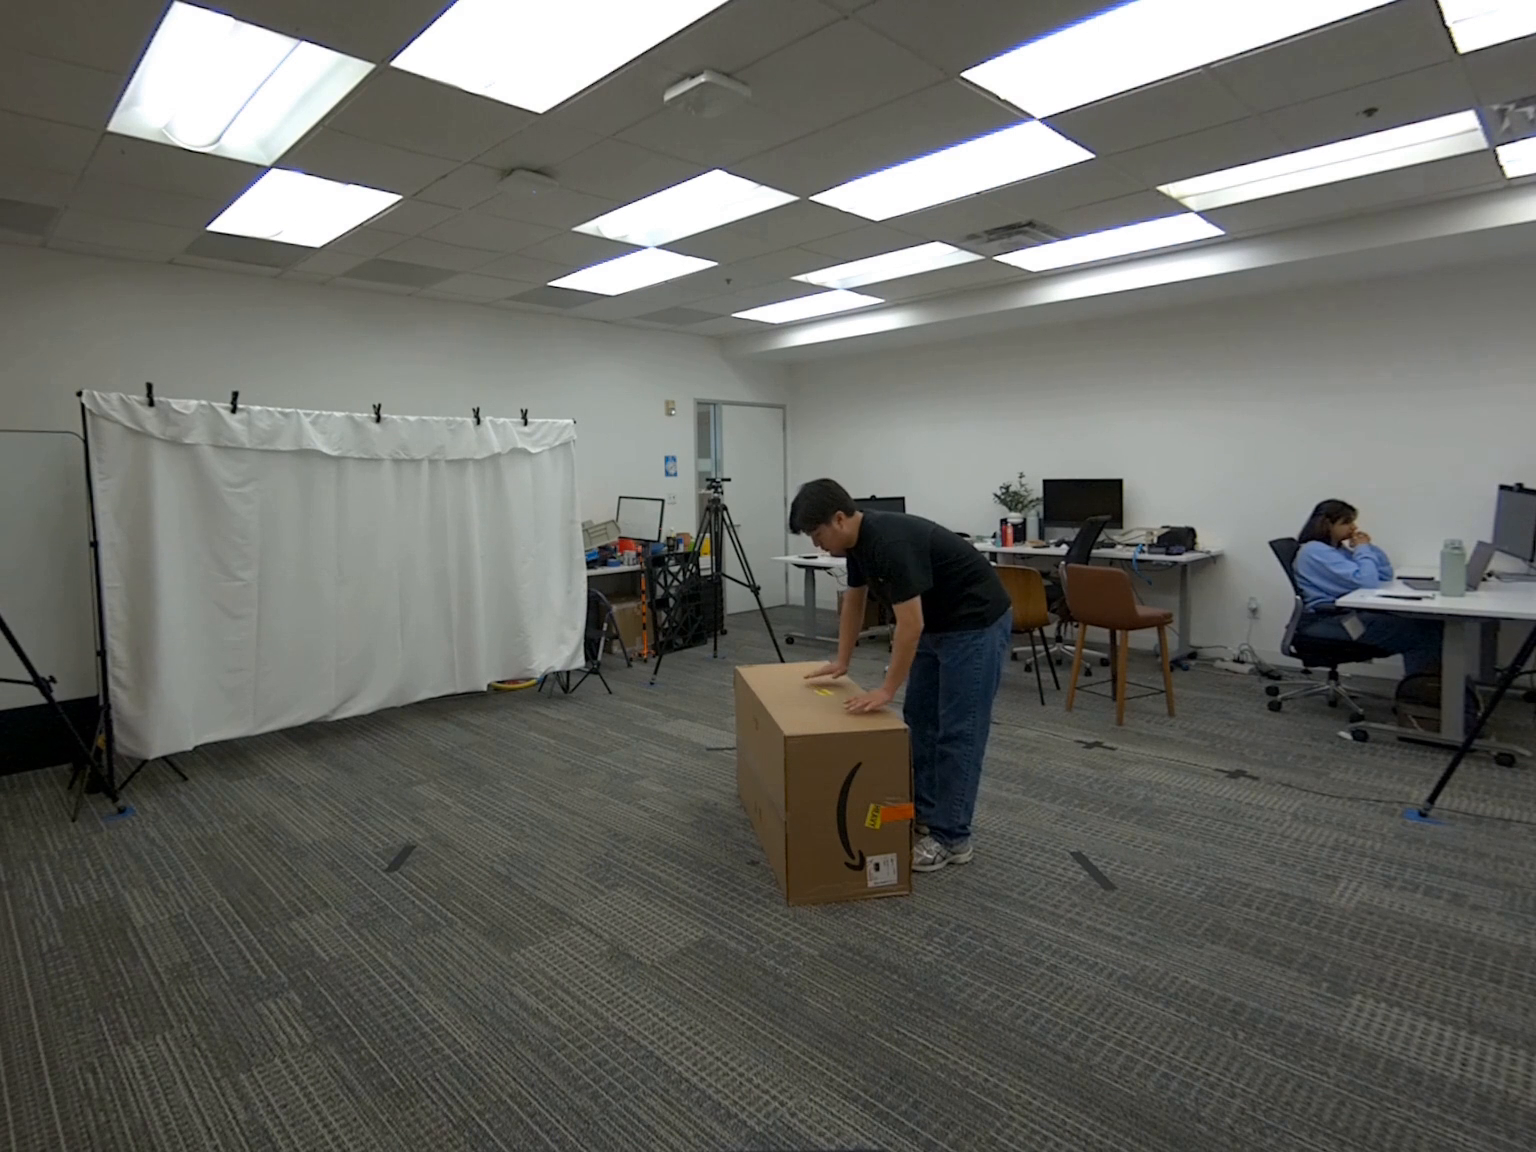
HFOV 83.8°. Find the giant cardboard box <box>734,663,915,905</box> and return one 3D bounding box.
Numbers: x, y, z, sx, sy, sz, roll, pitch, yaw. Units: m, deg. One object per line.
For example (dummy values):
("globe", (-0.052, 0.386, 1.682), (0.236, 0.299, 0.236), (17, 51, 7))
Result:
("giant cardboard box", (0.170, 0.729, 3.296), (0.442, 0.581, 1.042), (-1, 6, -11))
